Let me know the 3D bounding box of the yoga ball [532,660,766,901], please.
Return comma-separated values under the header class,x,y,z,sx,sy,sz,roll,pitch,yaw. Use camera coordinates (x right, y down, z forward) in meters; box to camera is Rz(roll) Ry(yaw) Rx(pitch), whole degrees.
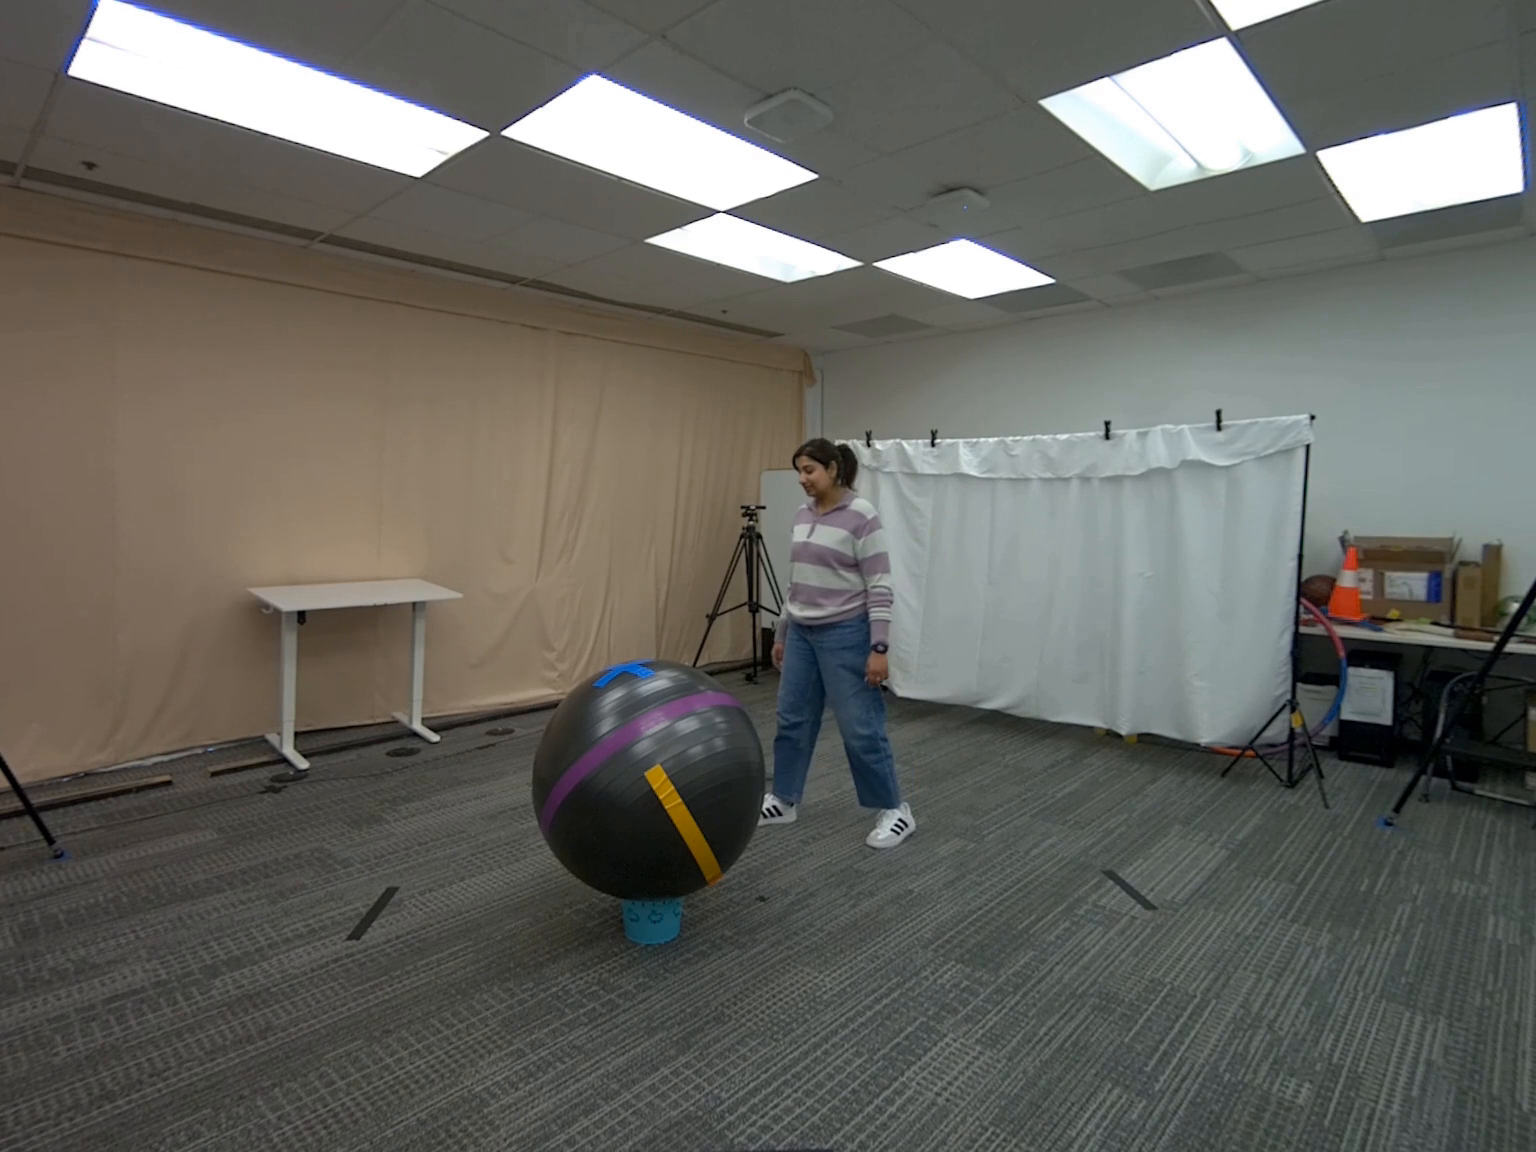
class,x,y,z,sx,sy,sz,roll,pitch,yaw
yoga ball,-0.392,0.657,2.746,0.757,0.756,0.760,0,4,-2
